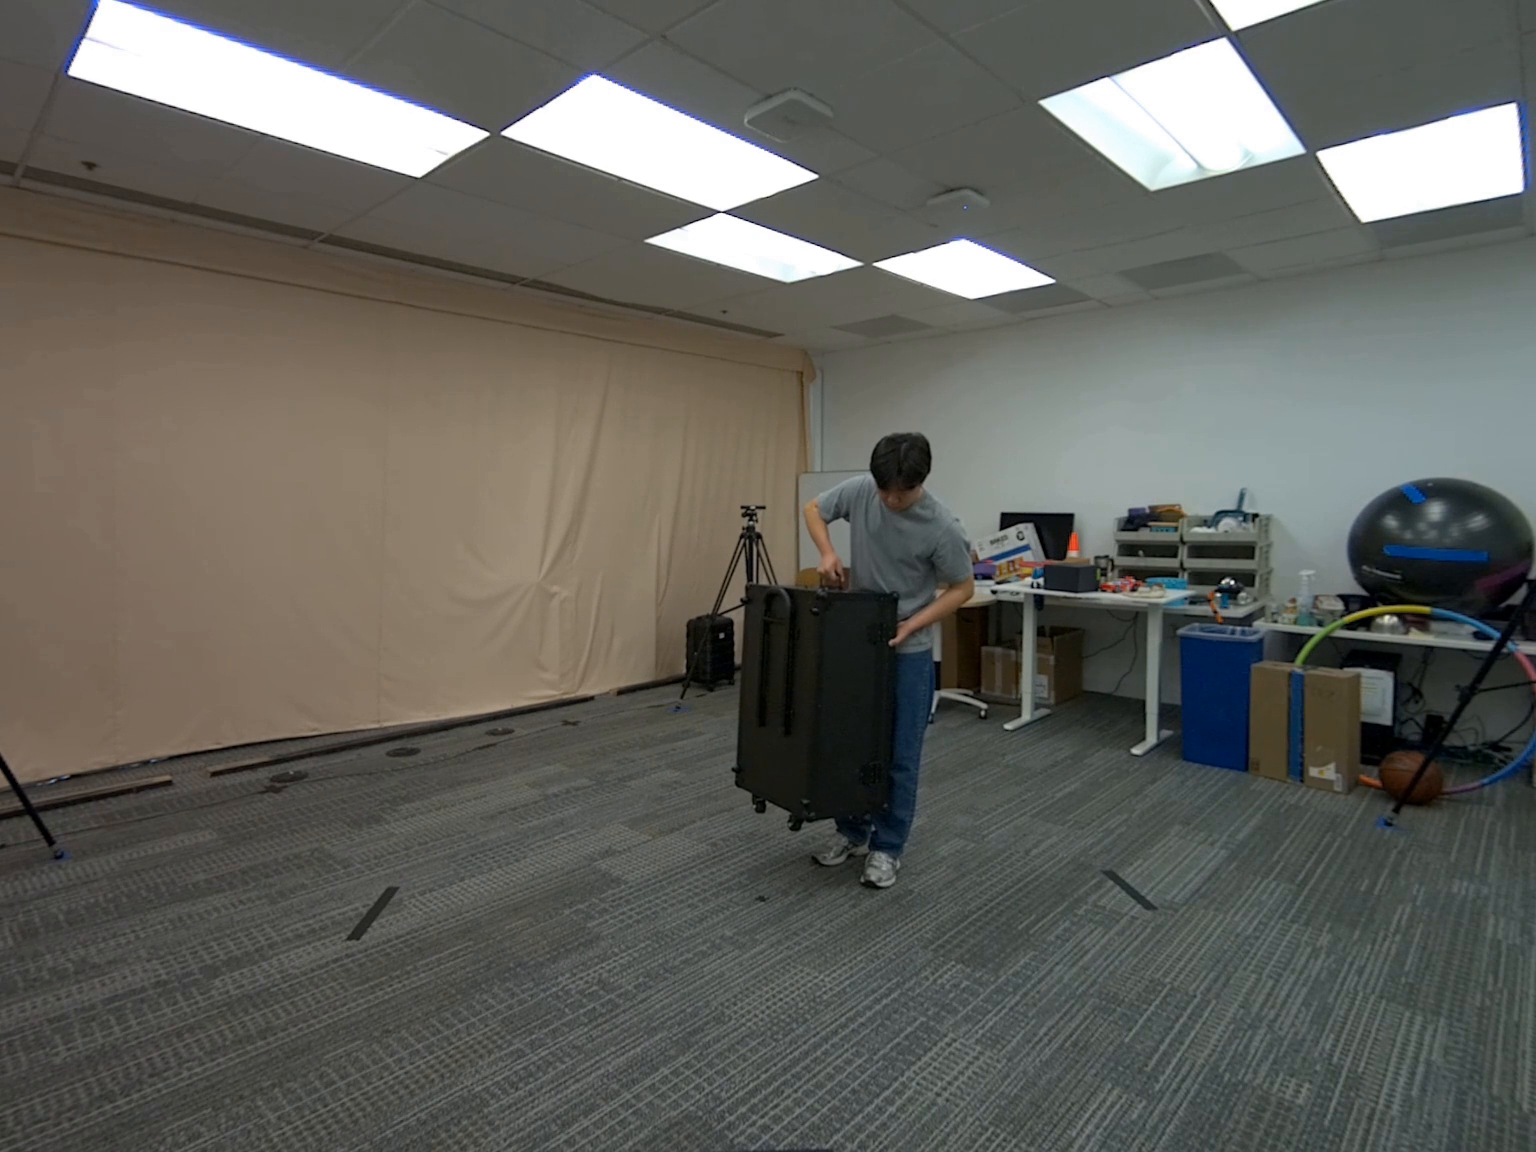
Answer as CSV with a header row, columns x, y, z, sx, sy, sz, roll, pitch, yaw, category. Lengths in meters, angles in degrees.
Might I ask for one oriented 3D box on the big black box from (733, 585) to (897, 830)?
x,y,z,sx,sy,sz,roll,pitch,yaw,category
0.163,0.413,3.134,0.385,0.861,0.537,4,0,-32,big black box
